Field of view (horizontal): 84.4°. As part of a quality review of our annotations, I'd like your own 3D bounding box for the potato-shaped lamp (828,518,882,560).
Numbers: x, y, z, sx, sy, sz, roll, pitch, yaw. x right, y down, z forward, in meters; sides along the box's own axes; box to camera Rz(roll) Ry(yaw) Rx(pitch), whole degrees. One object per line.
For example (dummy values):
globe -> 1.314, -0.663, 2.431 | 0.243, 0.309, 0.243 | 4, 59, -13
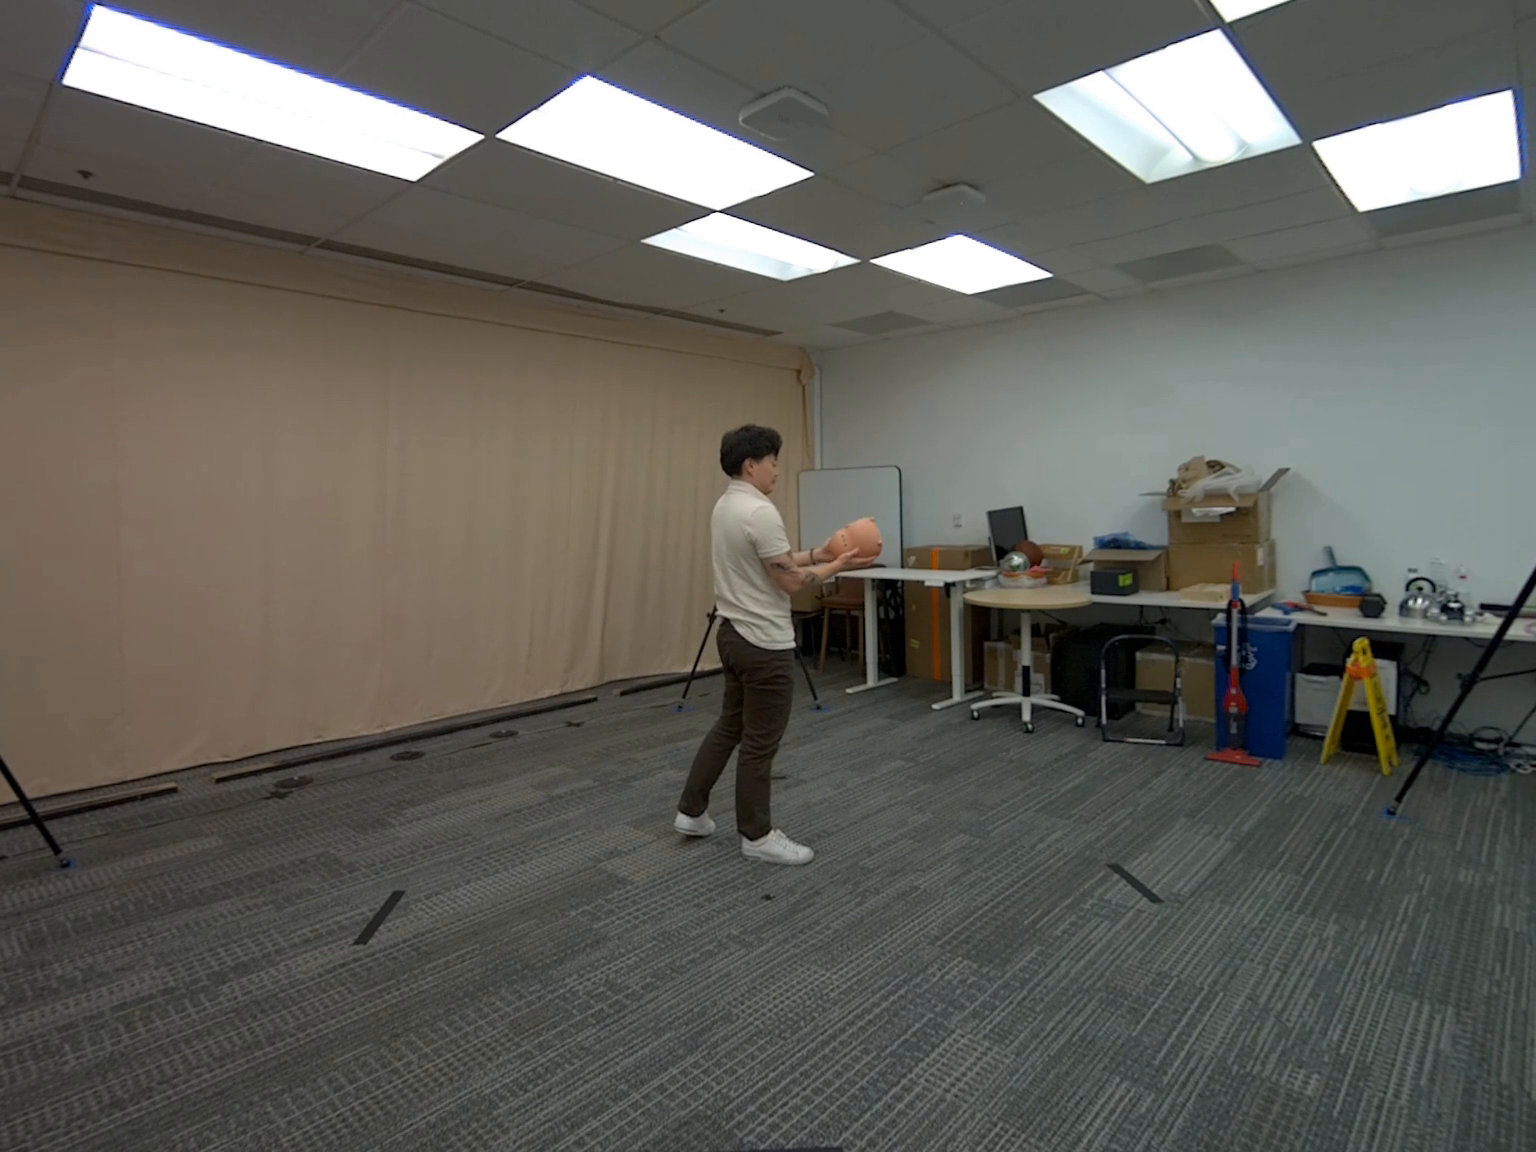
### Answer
potato-shaped lamp -> 0.342, -0.126, 3.310 | 0.199, 0.167, 0.168 | -14, -19, 5
